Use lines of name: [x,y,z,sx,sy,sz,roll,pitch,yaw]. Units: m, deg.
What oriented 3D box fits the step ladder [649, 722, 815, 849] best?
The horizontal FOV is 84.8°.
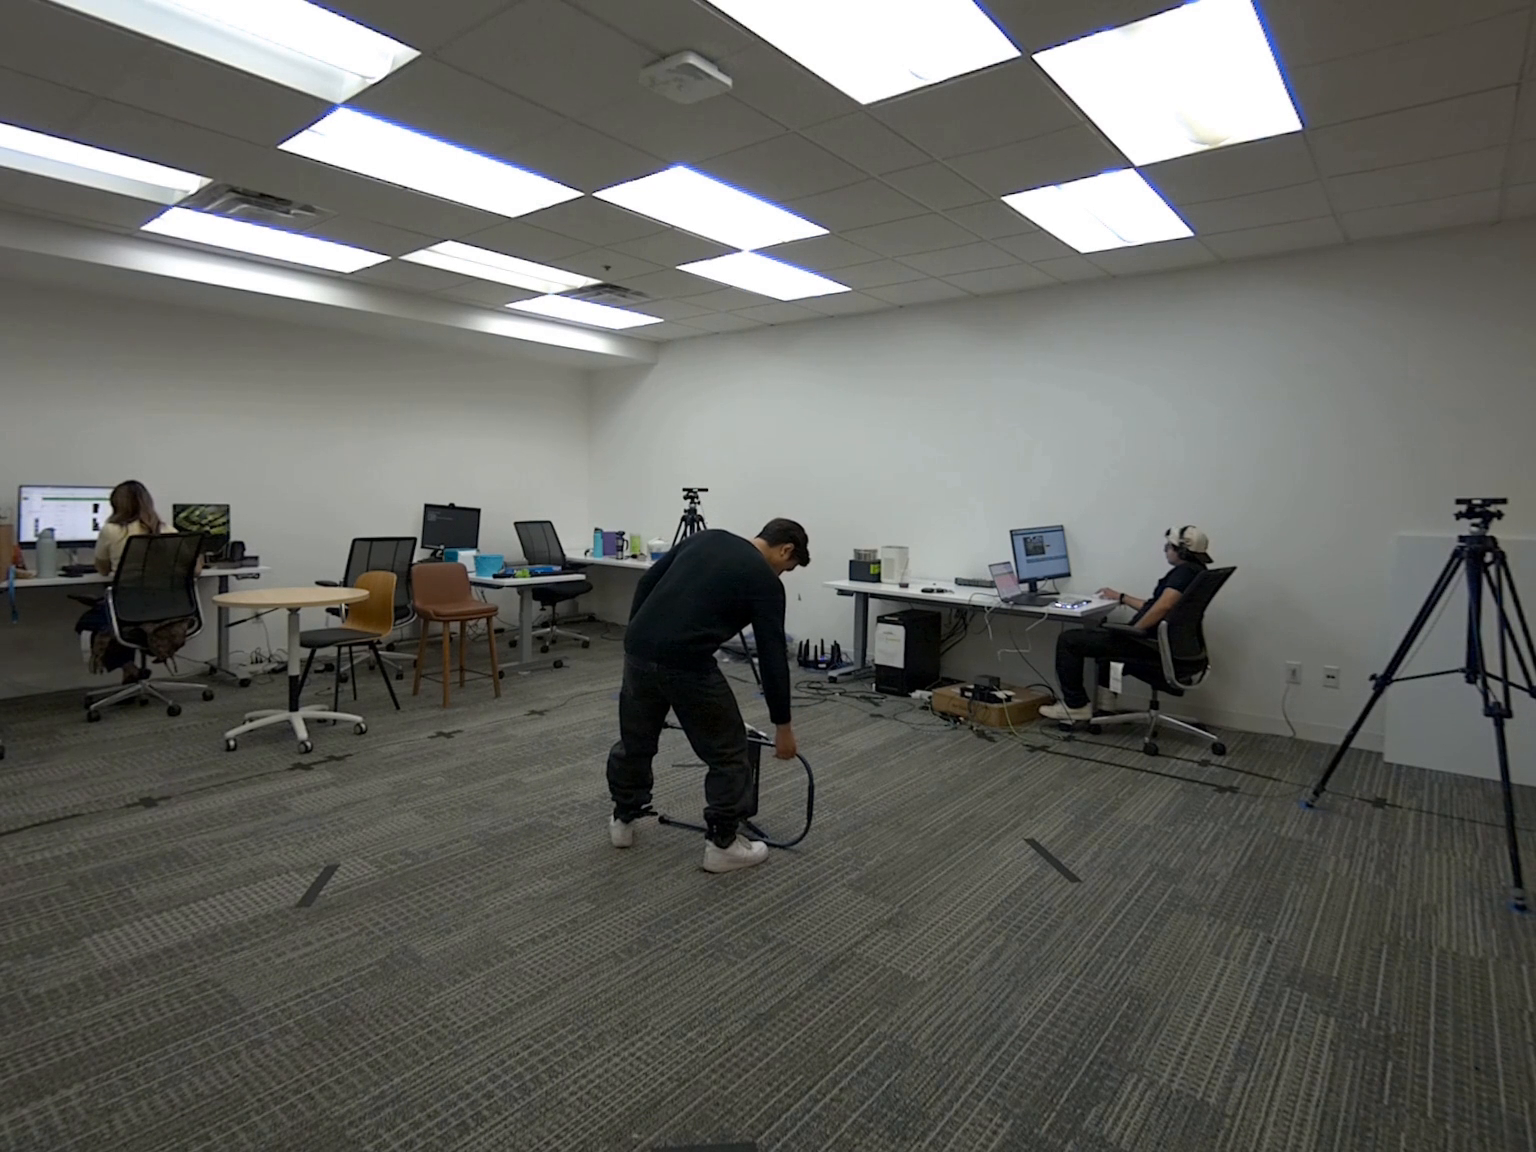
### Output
step ladder: [-0.113,0.833,3.422,0.627,0.429,0.338,8,7,44]
